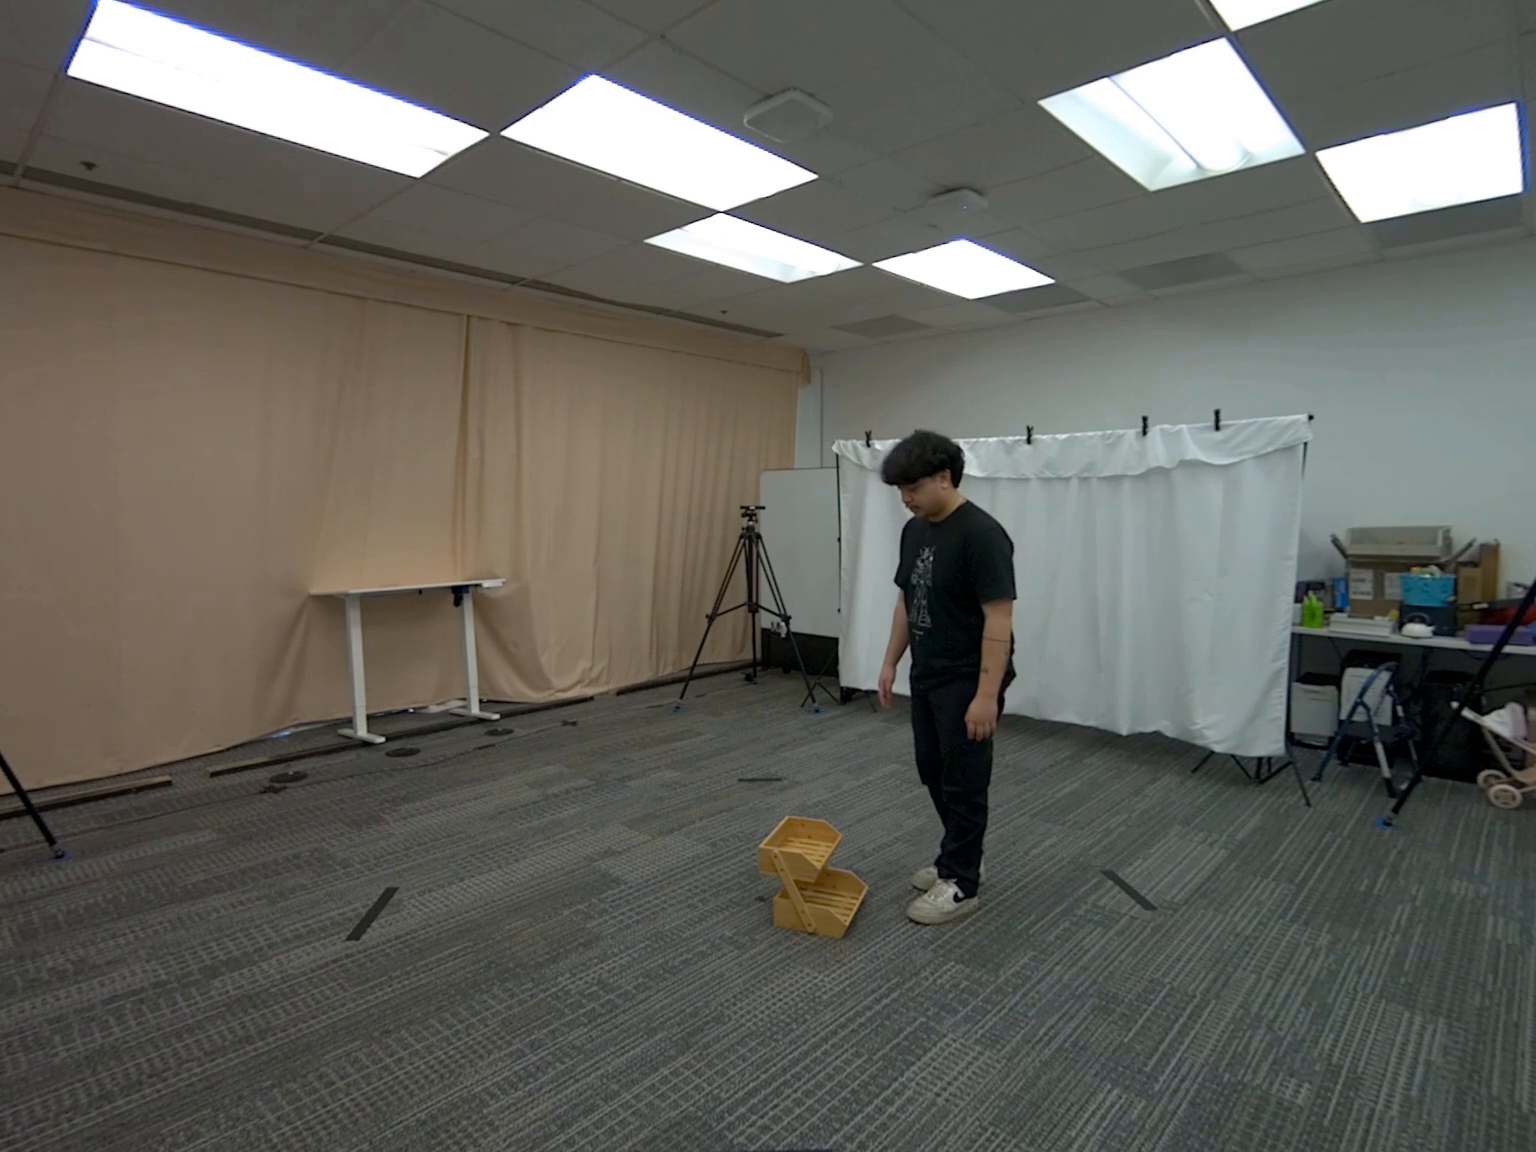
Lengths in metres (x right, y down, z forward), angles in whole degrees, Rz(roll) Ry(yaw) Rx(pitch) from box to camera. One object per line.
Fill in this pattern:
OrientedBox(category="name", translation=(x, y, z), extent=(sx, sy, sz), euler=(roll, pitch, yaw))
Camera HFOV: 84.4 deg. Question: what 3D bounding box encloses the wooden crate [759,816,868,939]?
OrientedBox(category="wooden crate", translation=(0.174, 1.028, 2.884), extent=(0.309, 0.273, 0.318), euler=(1, 4, 21))
